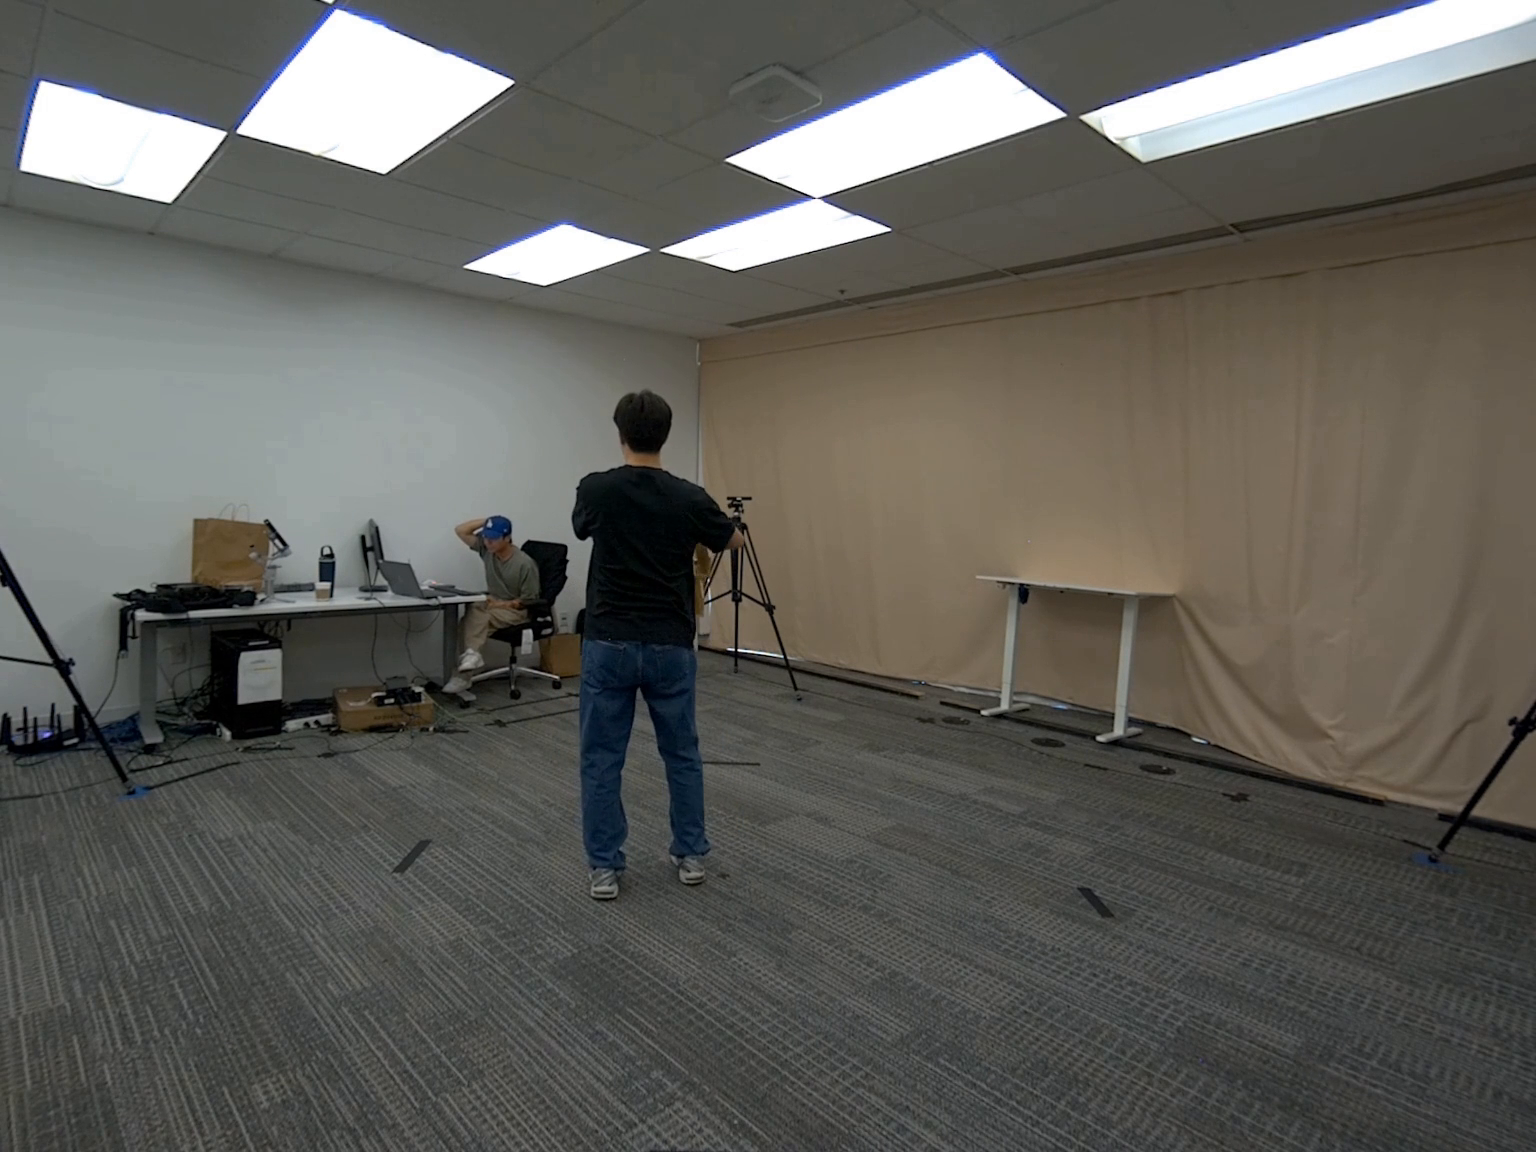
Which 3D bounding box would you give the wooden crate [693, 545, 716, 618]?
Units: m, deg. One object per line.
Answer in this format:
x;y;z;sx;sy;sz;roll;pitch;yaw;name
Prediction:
-0.401;0.000;3.421;0.320;0.309;0.271;0;-31;-18;wooden crate
